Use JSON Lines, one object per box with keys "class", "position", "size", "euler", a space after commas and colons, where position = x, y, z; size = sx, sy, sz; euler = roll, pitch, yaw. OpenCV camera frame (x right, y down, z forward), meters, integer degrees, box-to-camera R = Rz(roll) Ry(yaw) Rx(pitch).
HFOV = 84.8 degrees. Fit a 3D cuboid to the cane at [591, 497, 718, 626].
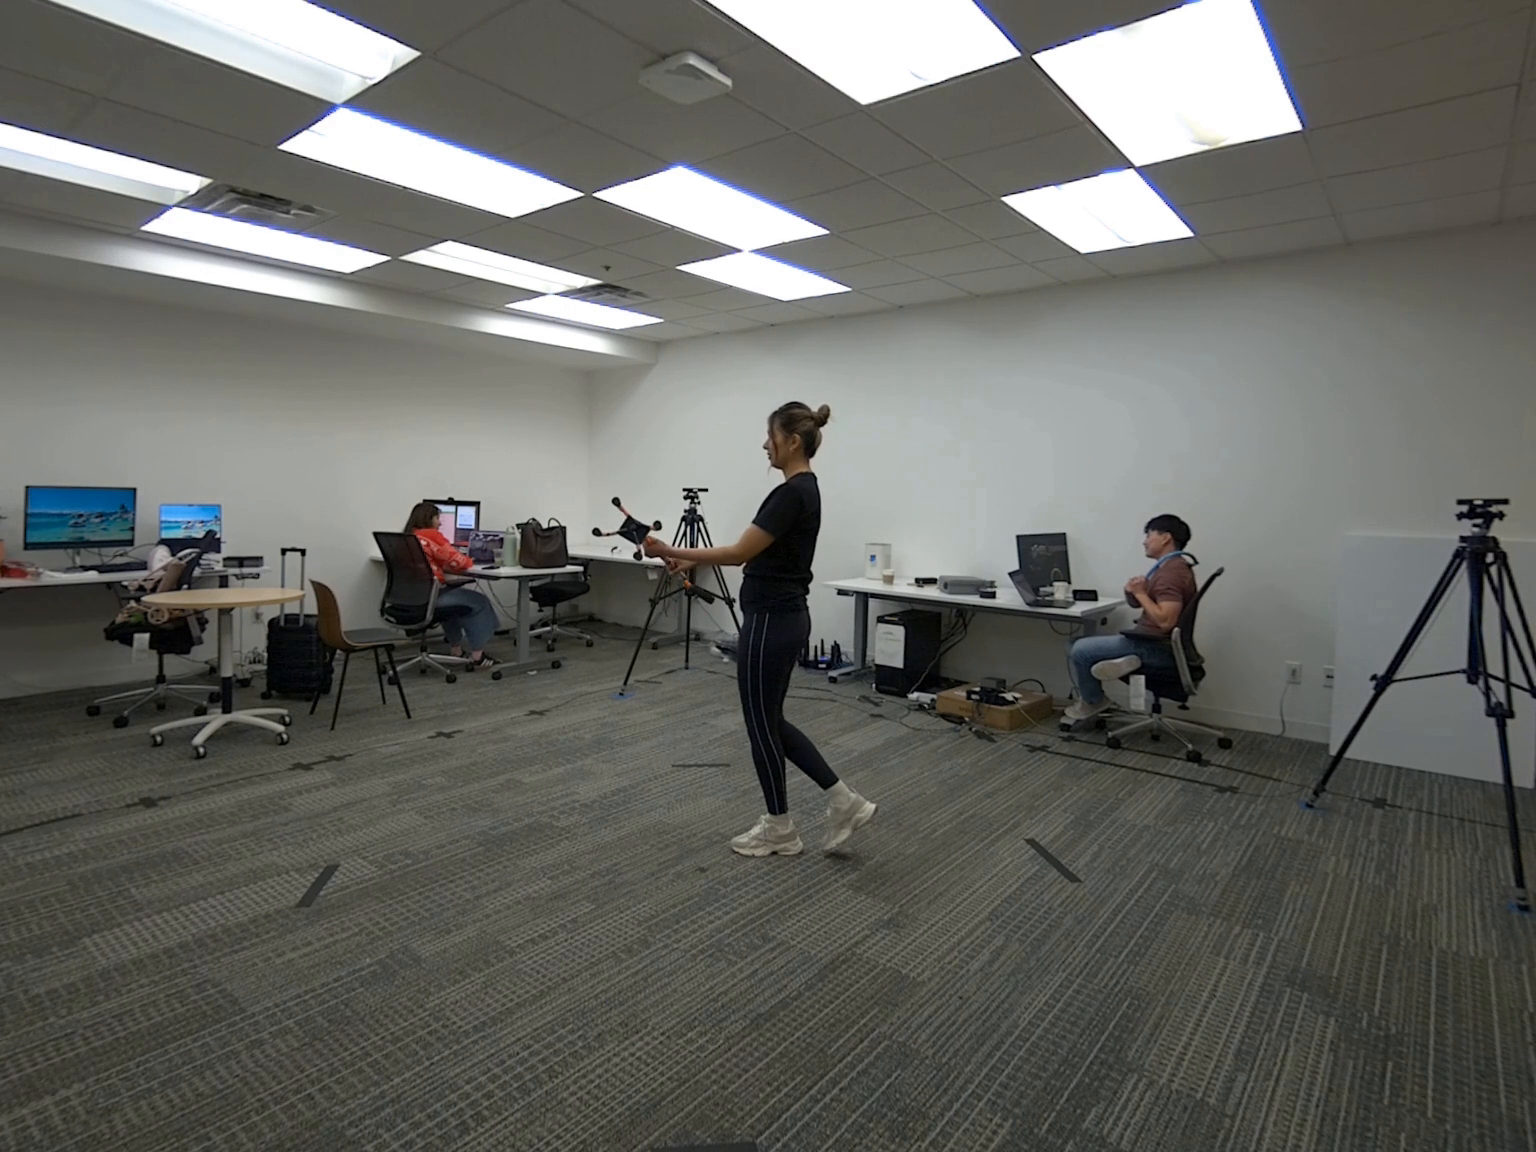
{"class": "cane", "position": [-0.403, -0.048, 3.254], "size": [0.212, 0.152, 0.883], "euler": [29, -8, 17]}
